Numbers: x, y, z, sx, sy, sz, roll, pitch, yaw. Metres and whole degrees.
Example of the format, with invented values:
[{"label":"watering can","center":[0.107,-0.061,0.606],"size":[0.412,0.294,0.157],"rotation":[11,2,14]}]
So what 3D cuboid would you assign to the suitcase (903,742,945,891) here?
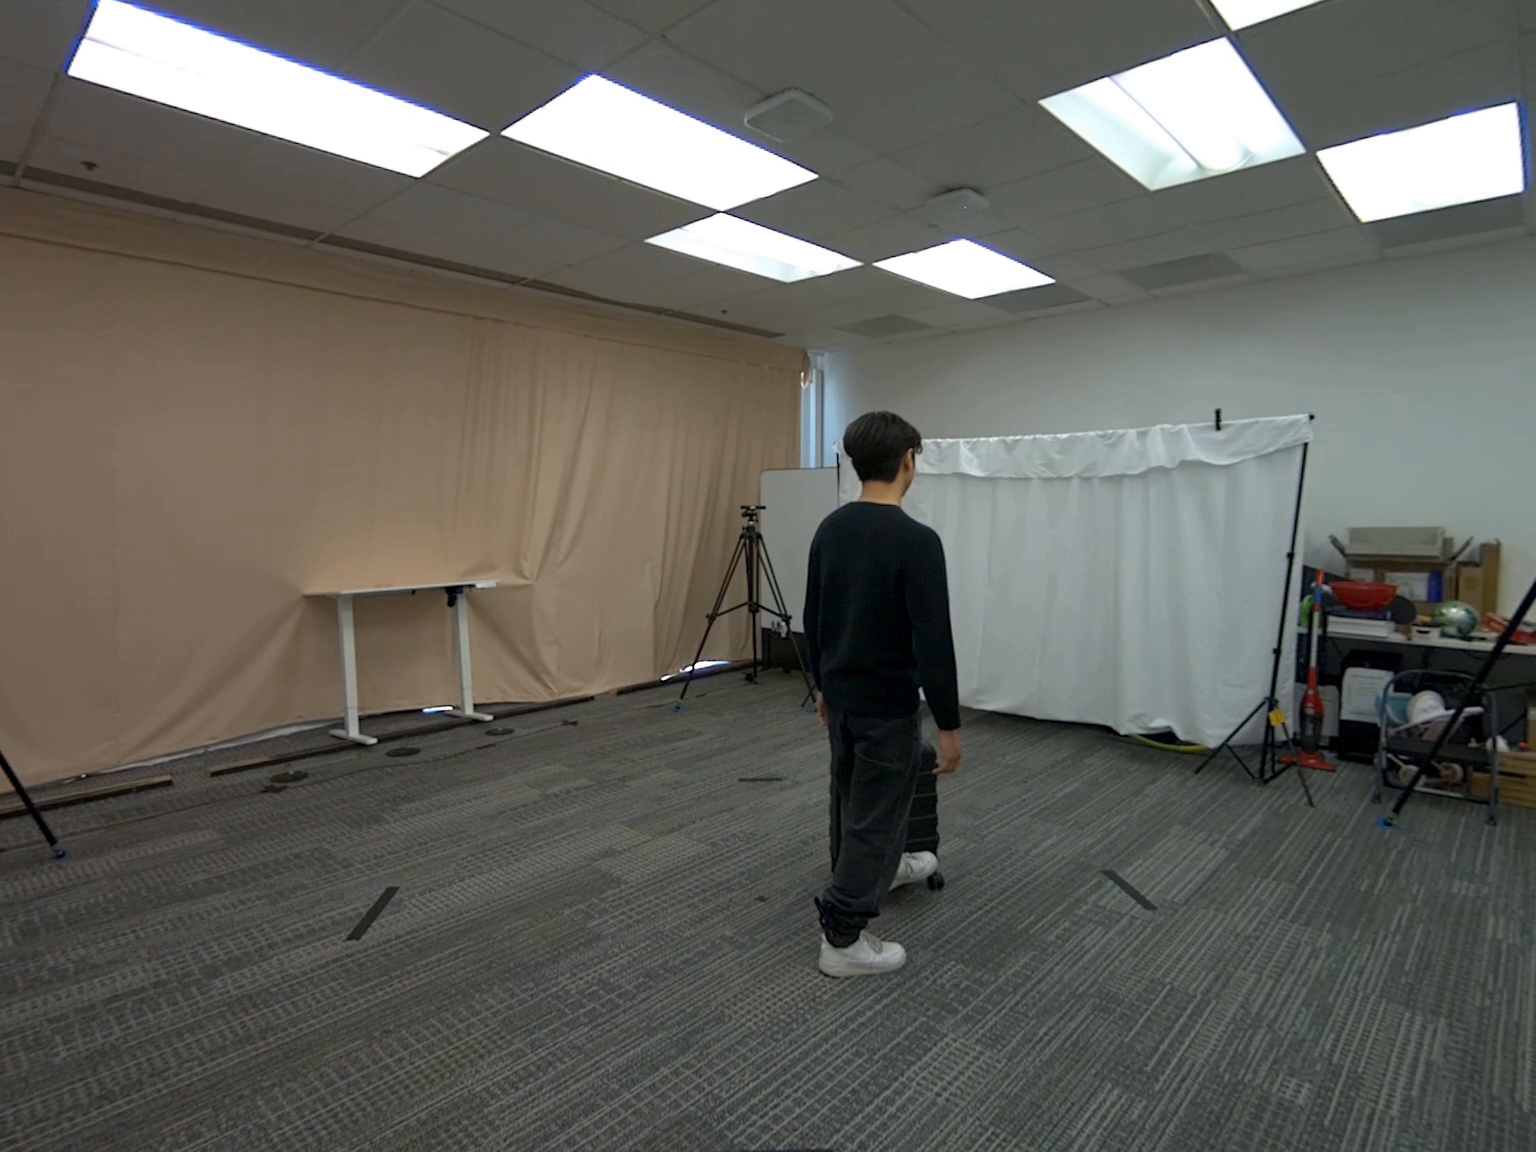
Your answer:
[{"label":"suitcase","center":[0.432,0.653,3.118],"size":[0.377,0.978,0.261],"rotation":[0,0,-17]}]
